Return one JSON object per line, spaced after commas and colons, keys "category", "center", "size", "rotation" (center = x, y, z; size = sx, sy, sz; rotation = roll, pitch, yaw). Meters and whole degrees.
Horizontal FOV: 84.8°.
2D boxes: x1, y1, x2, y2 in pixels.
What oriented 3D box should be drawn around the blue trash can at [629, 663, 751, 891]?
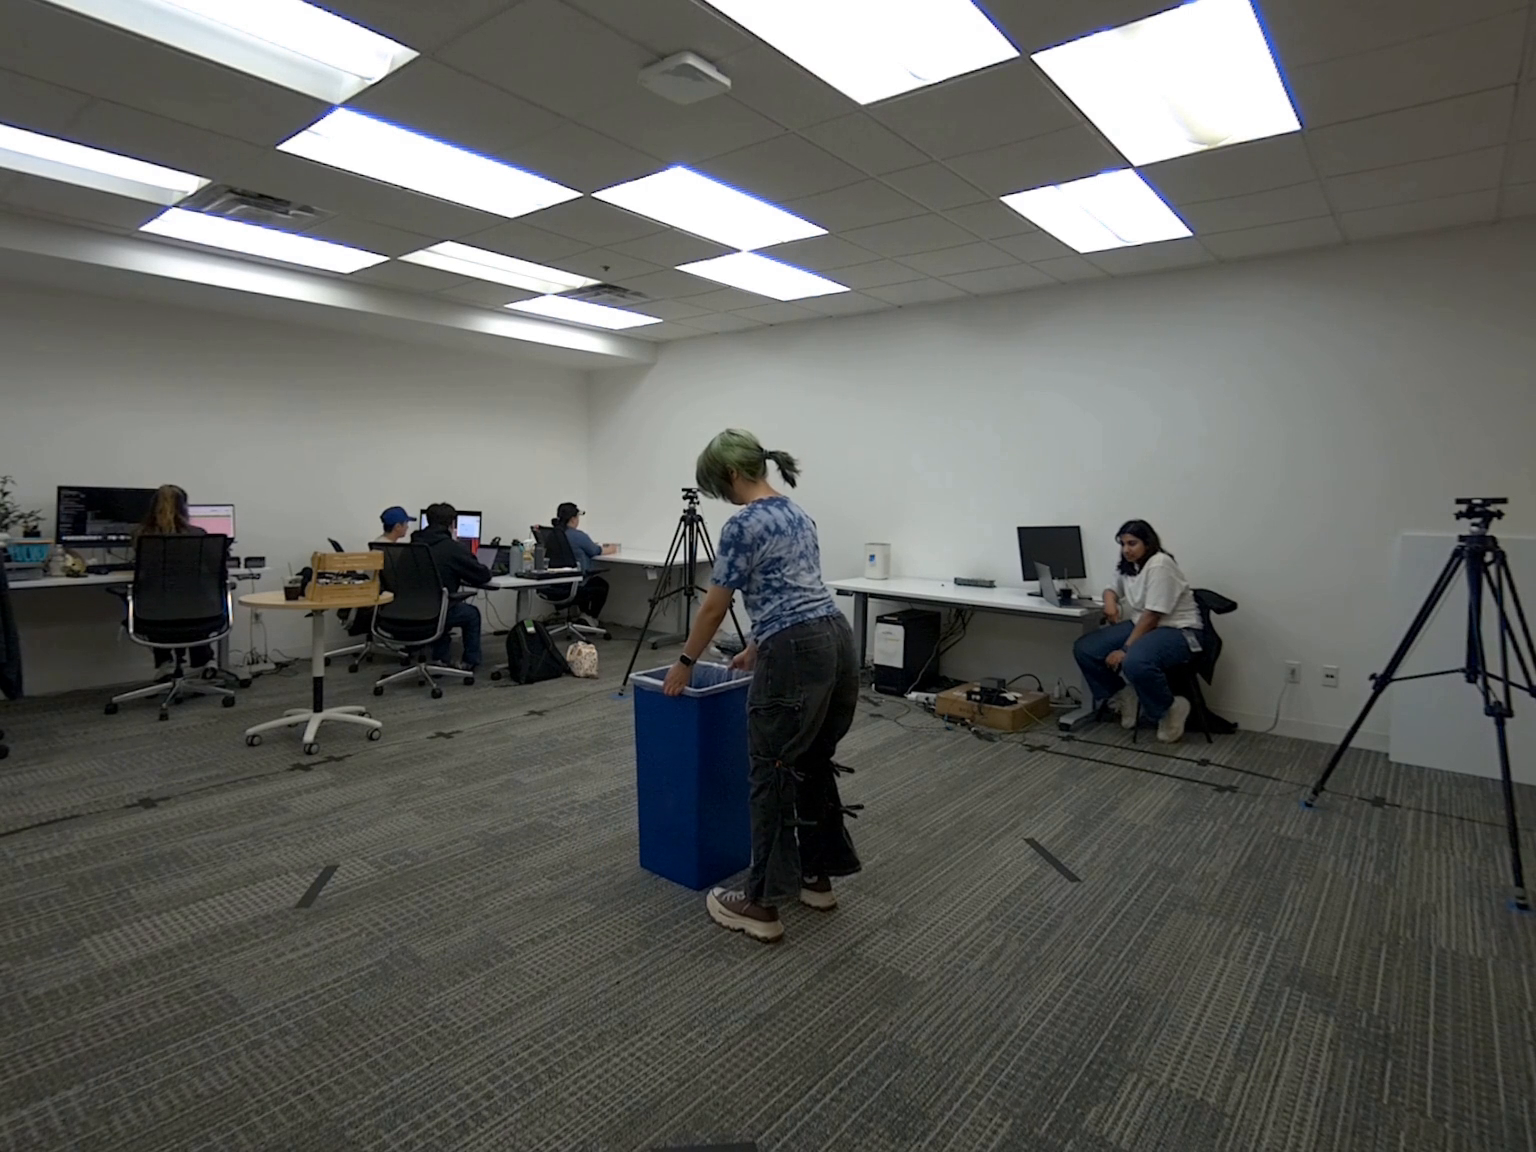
{"category": "blue trash can", "center": [-0.281, 0.710, 3.114], "size": [0.390, 0.712, 0.363], "rotation": [3, 4, 40]}
